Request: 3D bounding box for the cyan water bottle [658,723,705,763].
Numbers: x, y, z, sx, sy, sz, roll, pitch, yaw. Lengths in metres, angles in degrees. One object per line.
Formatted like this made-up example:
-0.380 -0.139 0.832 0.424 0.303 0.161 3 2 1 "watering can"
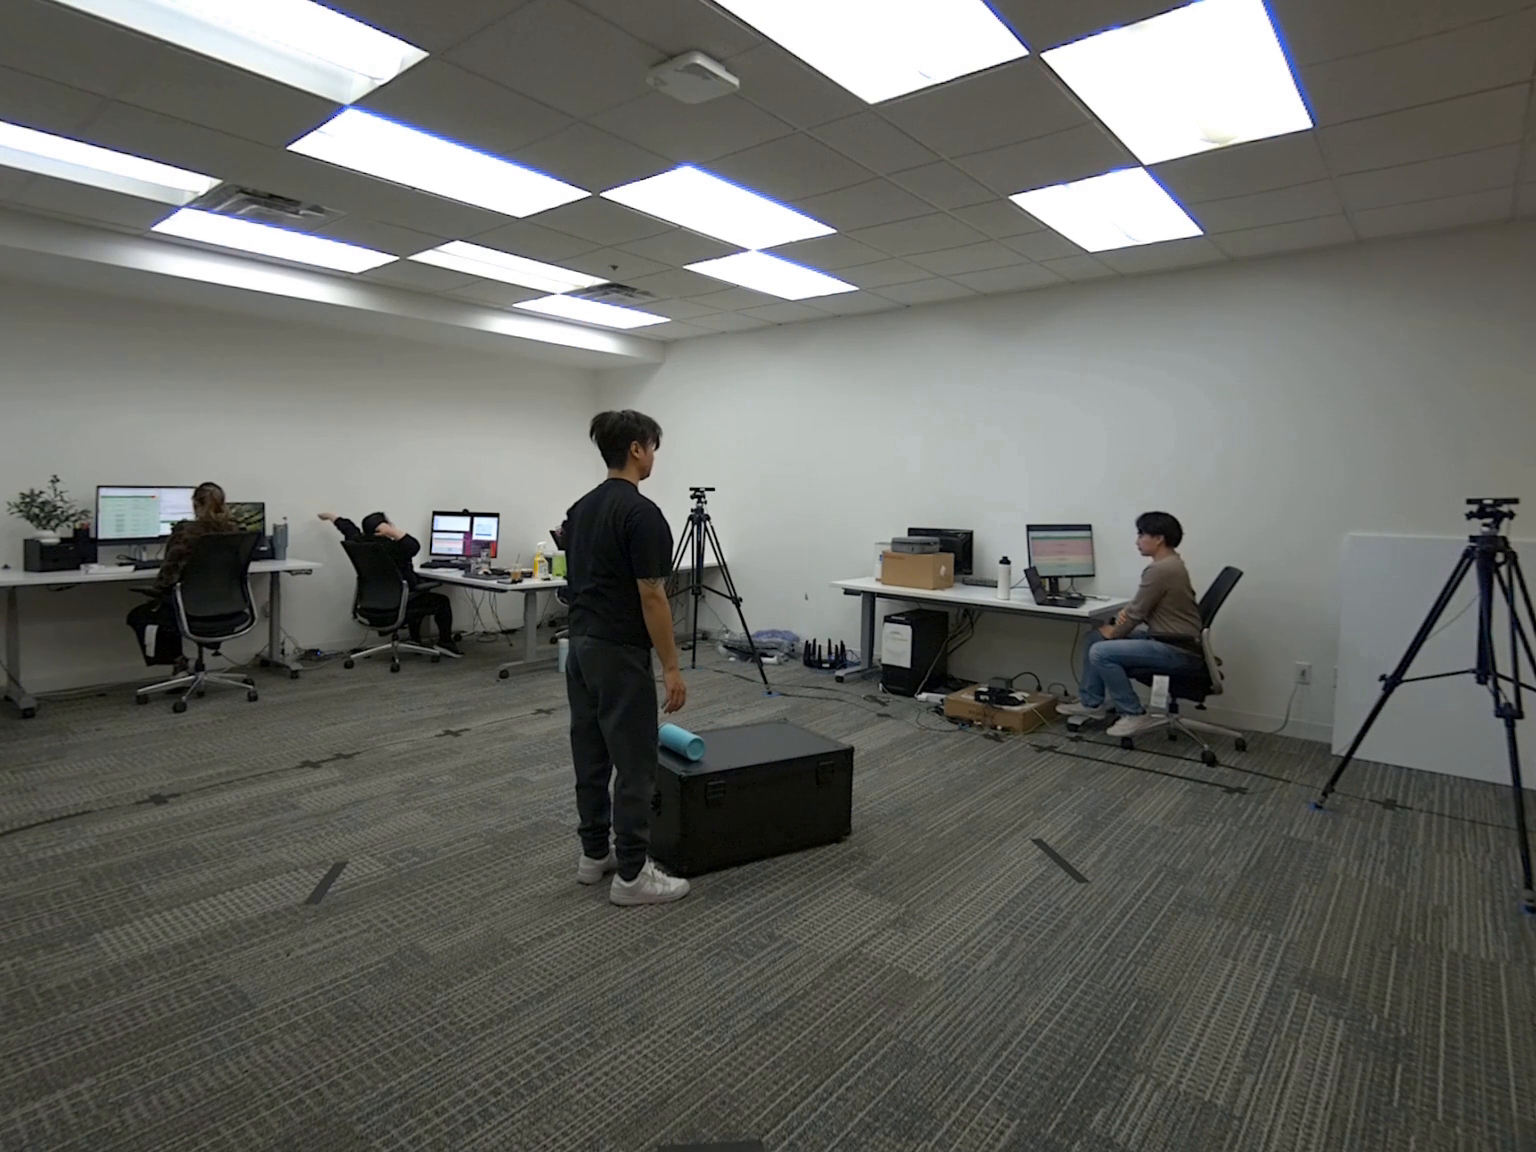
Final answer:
-0.355 0.627 3.273 0.090 0.092 0.292 -2 5 -33 "cyan water bottle"
